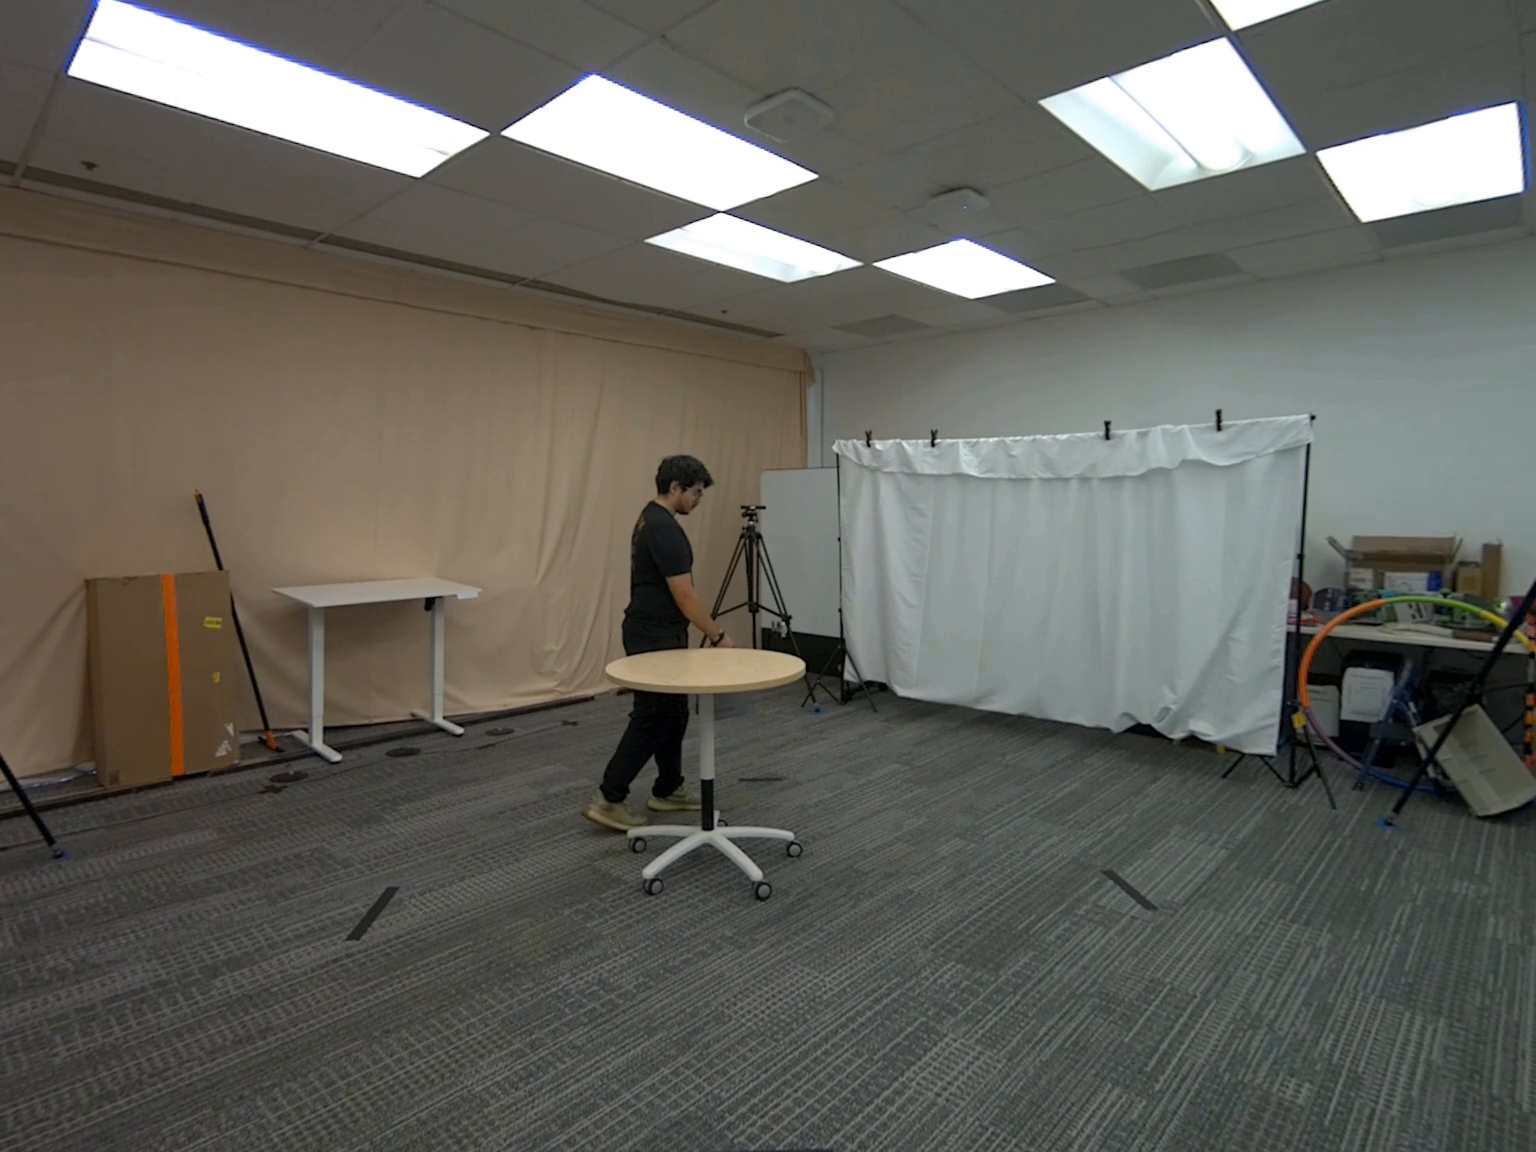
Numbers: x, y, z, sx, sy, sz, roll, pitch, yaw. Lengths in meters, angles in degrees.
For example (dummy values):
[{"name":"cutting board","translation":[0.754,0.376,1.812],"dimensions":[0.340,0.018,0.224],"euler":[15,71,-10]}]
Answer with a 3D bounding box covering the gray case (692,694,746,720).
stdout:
[{"name":"gray case","translation":[-0.196,0.500,3.749],"dimensions":[0.249,0.259,0.108],"euler":[-1,12,-43]}]
